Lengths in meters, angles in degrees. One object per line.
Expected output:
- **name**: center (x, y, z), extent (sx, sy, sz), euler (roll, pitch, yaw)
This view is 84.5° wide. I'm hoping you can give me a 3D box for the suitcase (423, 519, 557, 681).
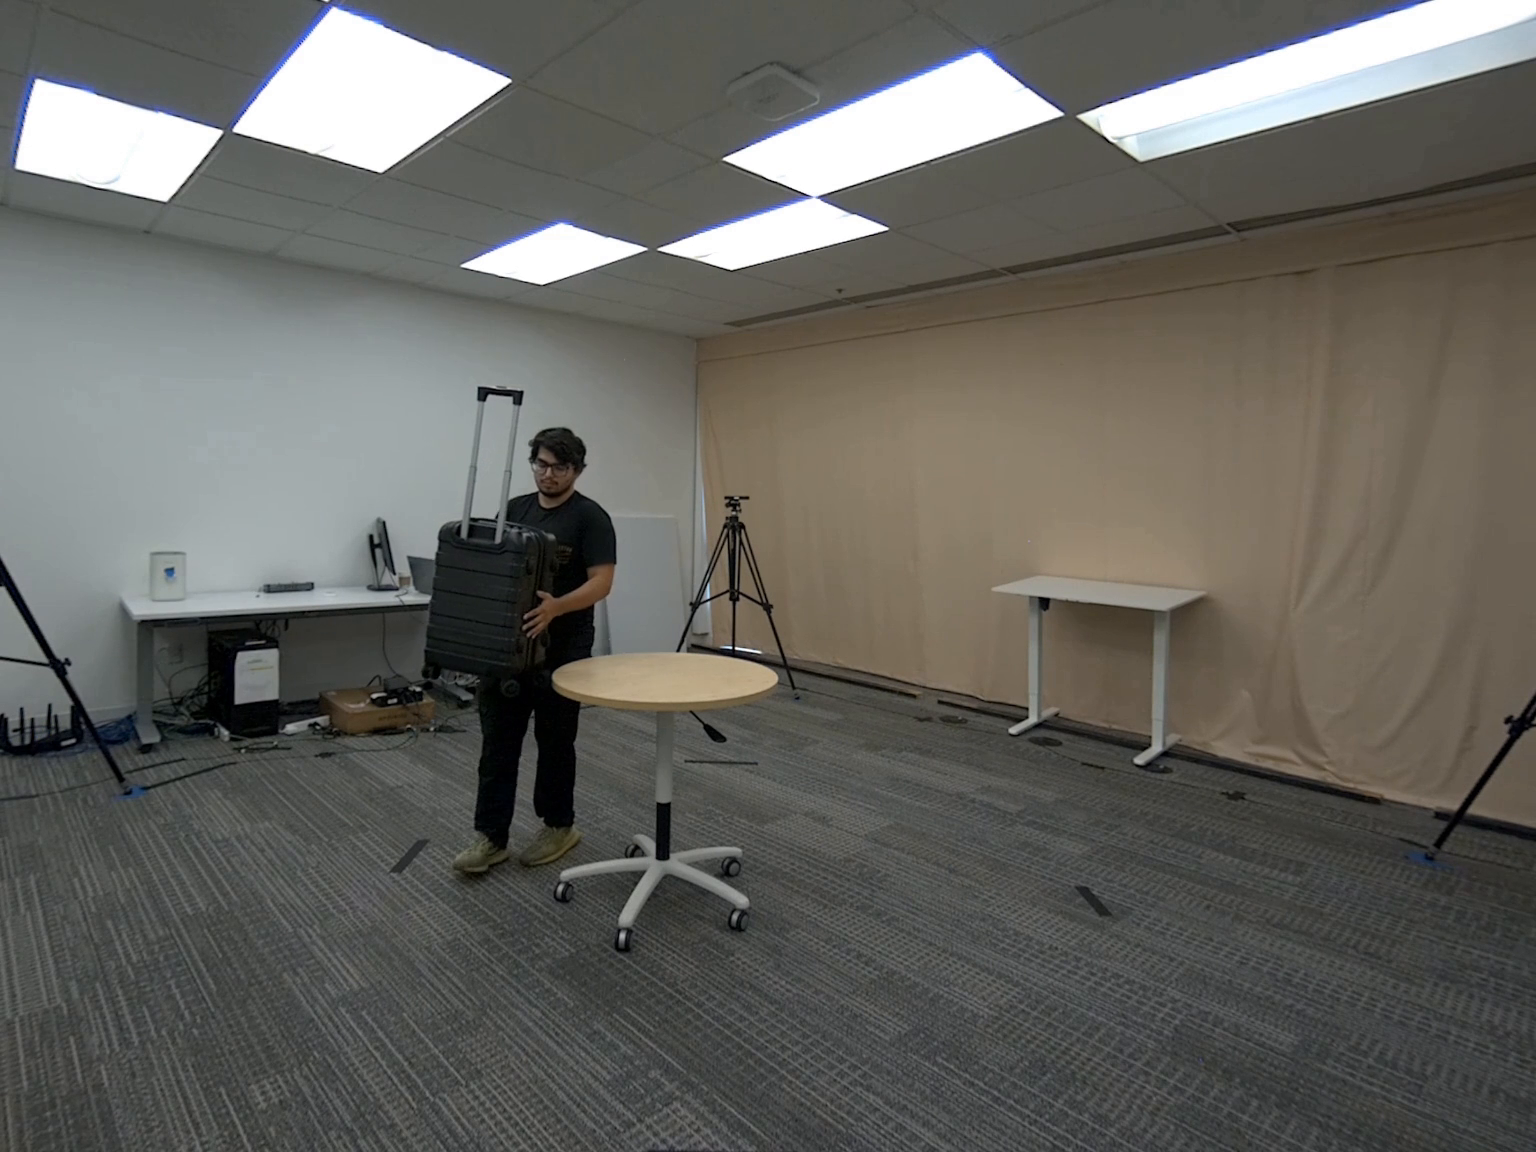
- **suitcase**: center (-0.918, -0.121, 2.832), extent (0.389, 0.977, 0.254), euler (9, 2, 15)
